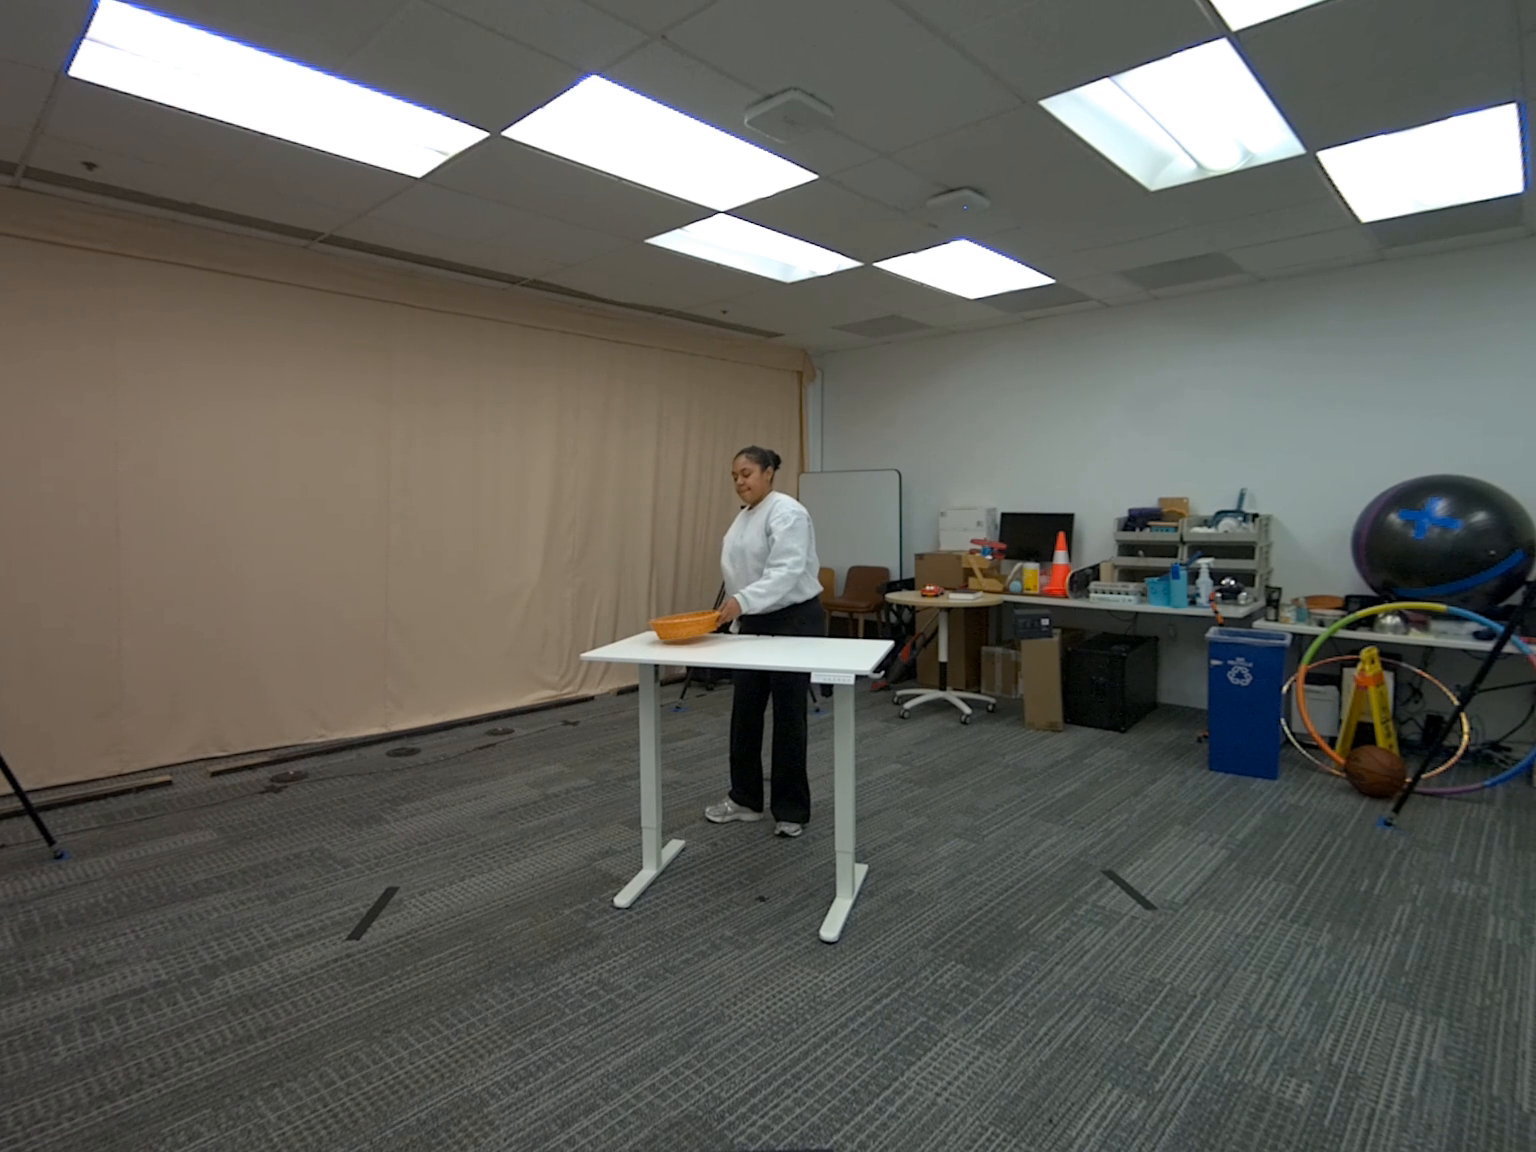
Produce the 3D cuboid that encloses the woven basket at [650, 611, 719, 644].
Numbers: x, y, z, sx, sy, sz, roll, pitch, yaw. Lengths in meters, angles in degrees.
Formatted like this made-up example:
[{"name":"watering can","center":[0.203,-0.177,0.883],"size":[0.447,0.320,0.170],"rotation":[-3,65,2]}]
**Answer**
[{"name":"woven basket","center":[-0.307,0.188,3.200],"size":[0.258,0.073,0.342],"rotation":[-4,2,25]}]
